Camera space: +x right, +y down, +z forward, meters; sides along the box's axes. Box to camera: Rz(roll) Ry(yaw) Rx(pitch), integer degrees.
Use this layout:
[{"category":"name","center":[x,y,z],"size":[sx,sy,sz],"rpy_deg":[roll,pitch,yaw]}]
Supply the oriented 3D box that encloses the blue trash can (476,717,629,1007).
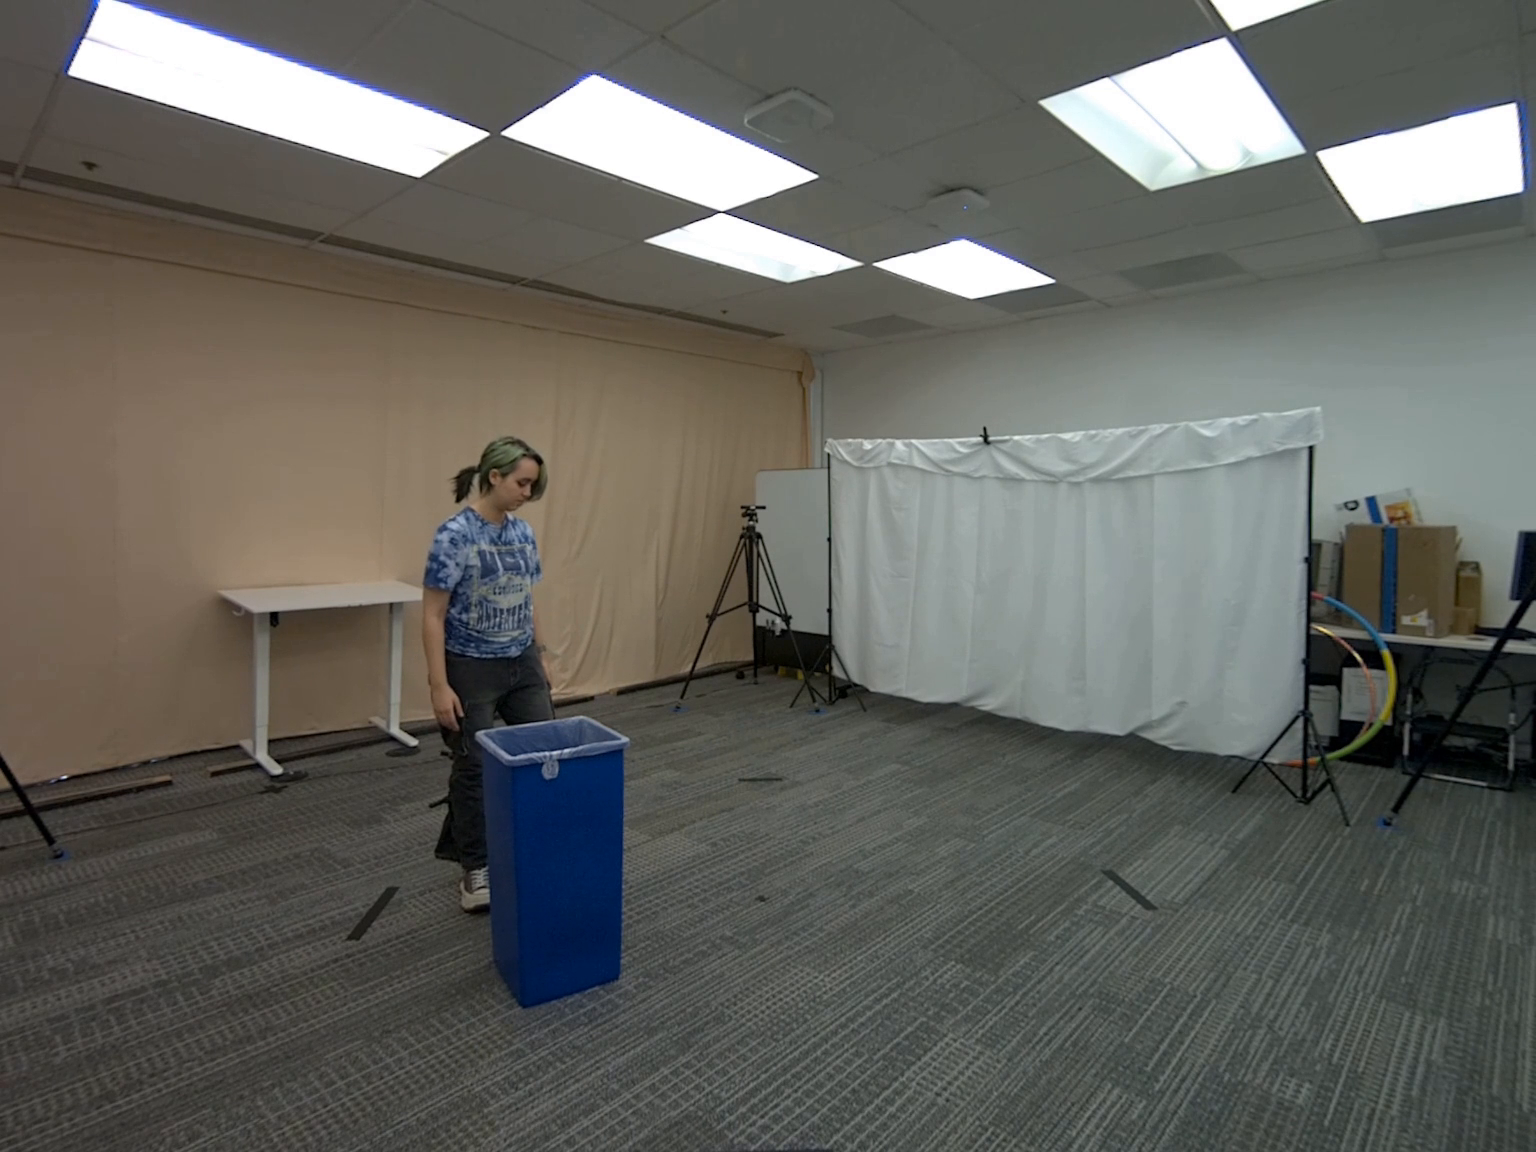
[{"category":"blue trash can","center":[-0.649,0.832,2.521],"size":[0.367,0.712,0.385],"rpy_deg":[-2,3,-33]}]
